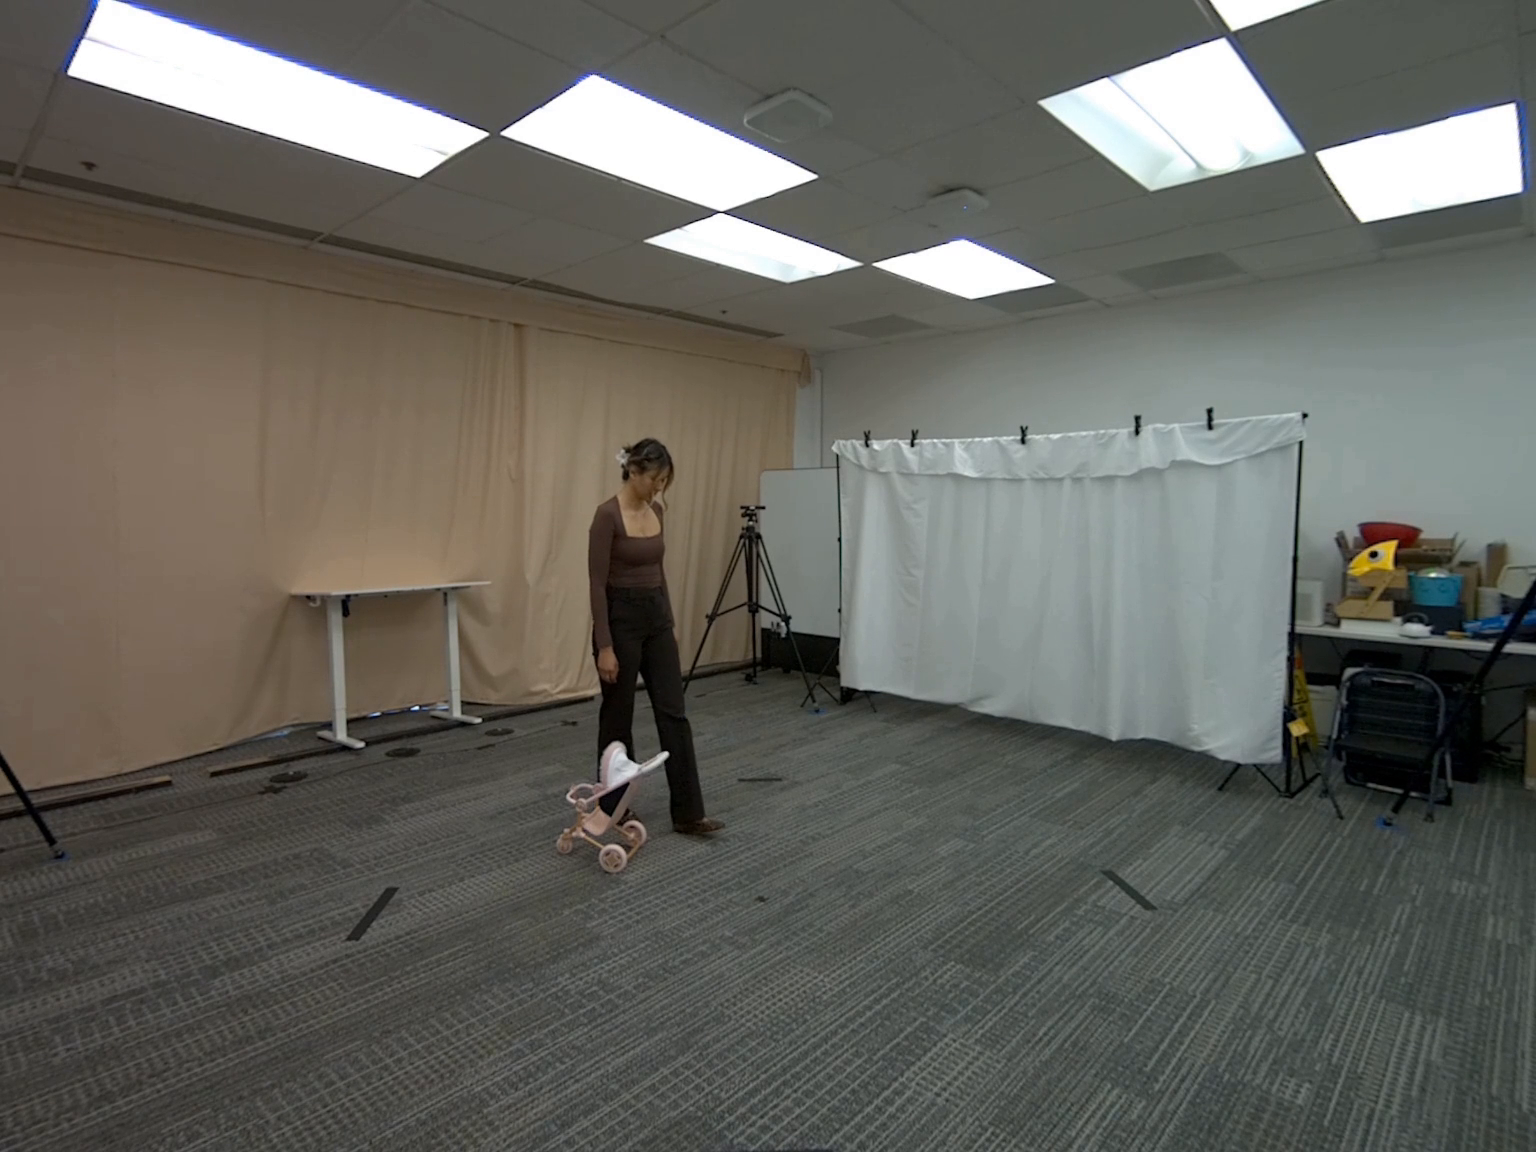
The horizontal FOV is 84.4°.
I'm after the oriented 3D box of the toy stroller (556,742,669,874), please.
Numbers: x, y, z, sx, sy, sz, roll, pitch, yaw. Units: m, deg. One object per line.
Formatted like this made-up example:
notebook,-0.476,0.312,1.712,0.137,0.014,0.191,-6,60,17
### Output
toy stroller,-0.633,0.897,3.341,0.348,0.534,0.277,18,6,15
